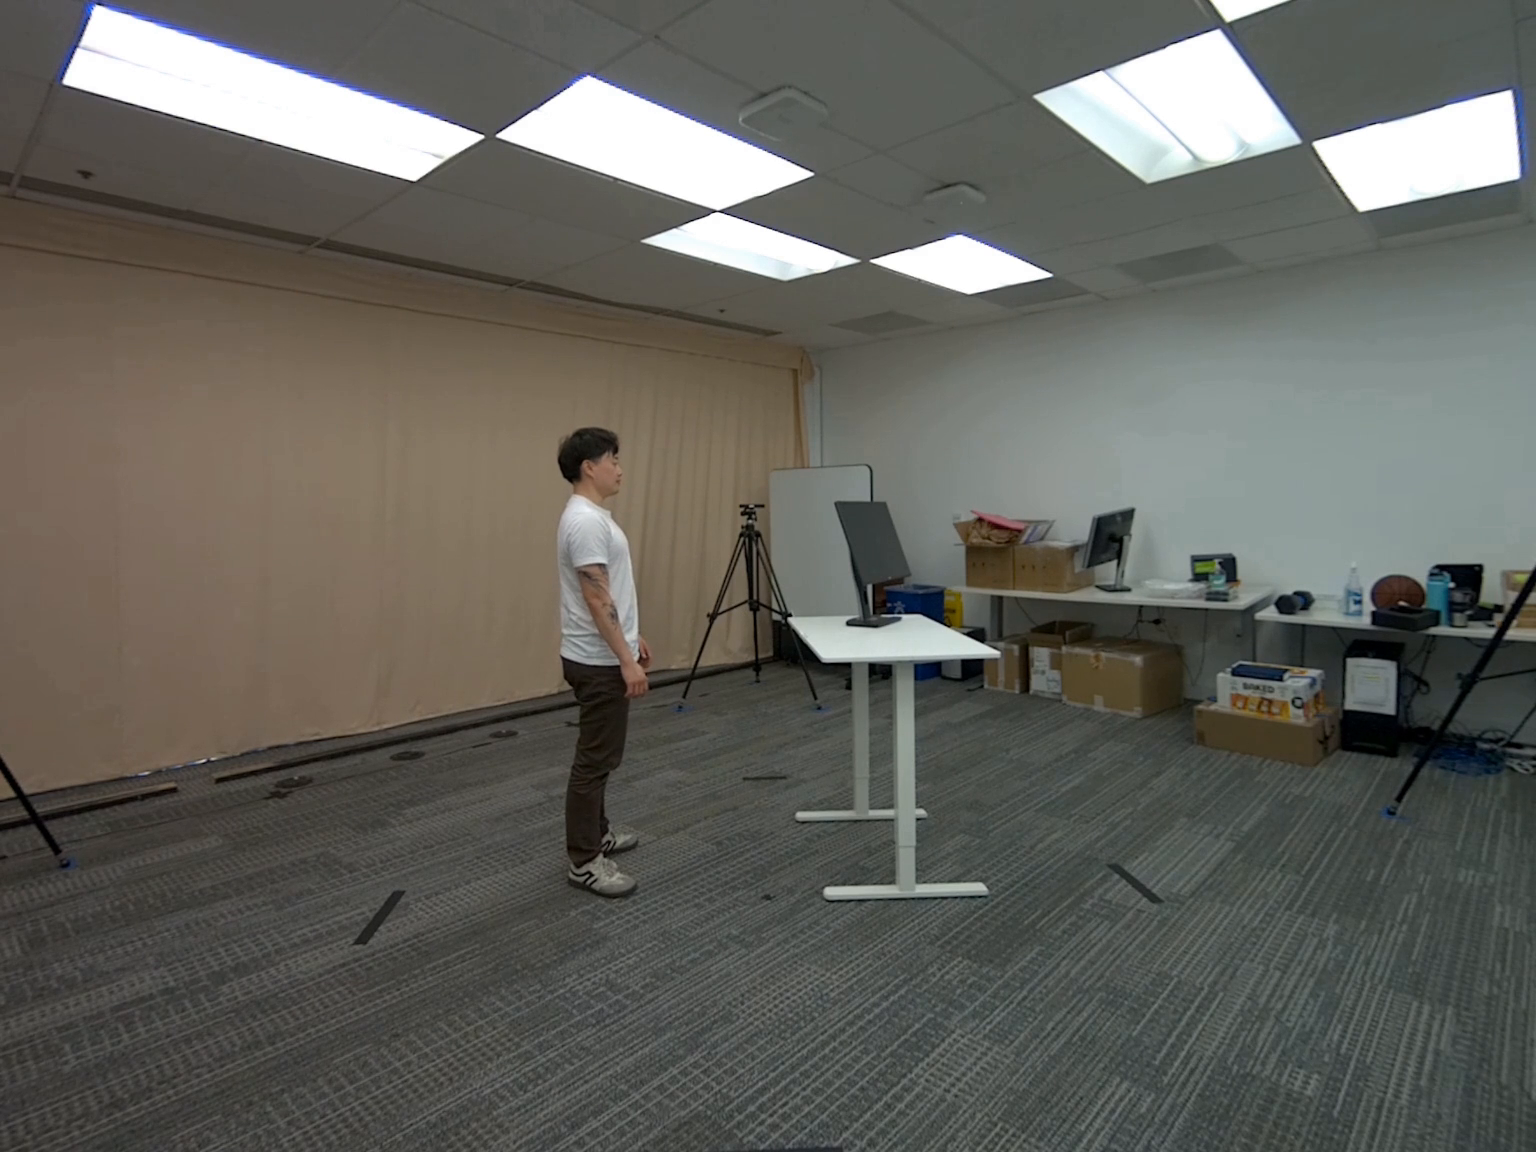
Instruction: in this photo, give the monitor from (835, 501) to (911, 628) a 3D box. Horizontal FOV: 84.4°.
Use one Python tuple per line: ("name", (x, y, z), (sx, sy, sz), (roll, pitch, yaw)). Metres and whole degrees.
("monitor", (0.430, -0.053, 3.574), (0.192, 0.522, 0.526), (-5, 1, 26))
